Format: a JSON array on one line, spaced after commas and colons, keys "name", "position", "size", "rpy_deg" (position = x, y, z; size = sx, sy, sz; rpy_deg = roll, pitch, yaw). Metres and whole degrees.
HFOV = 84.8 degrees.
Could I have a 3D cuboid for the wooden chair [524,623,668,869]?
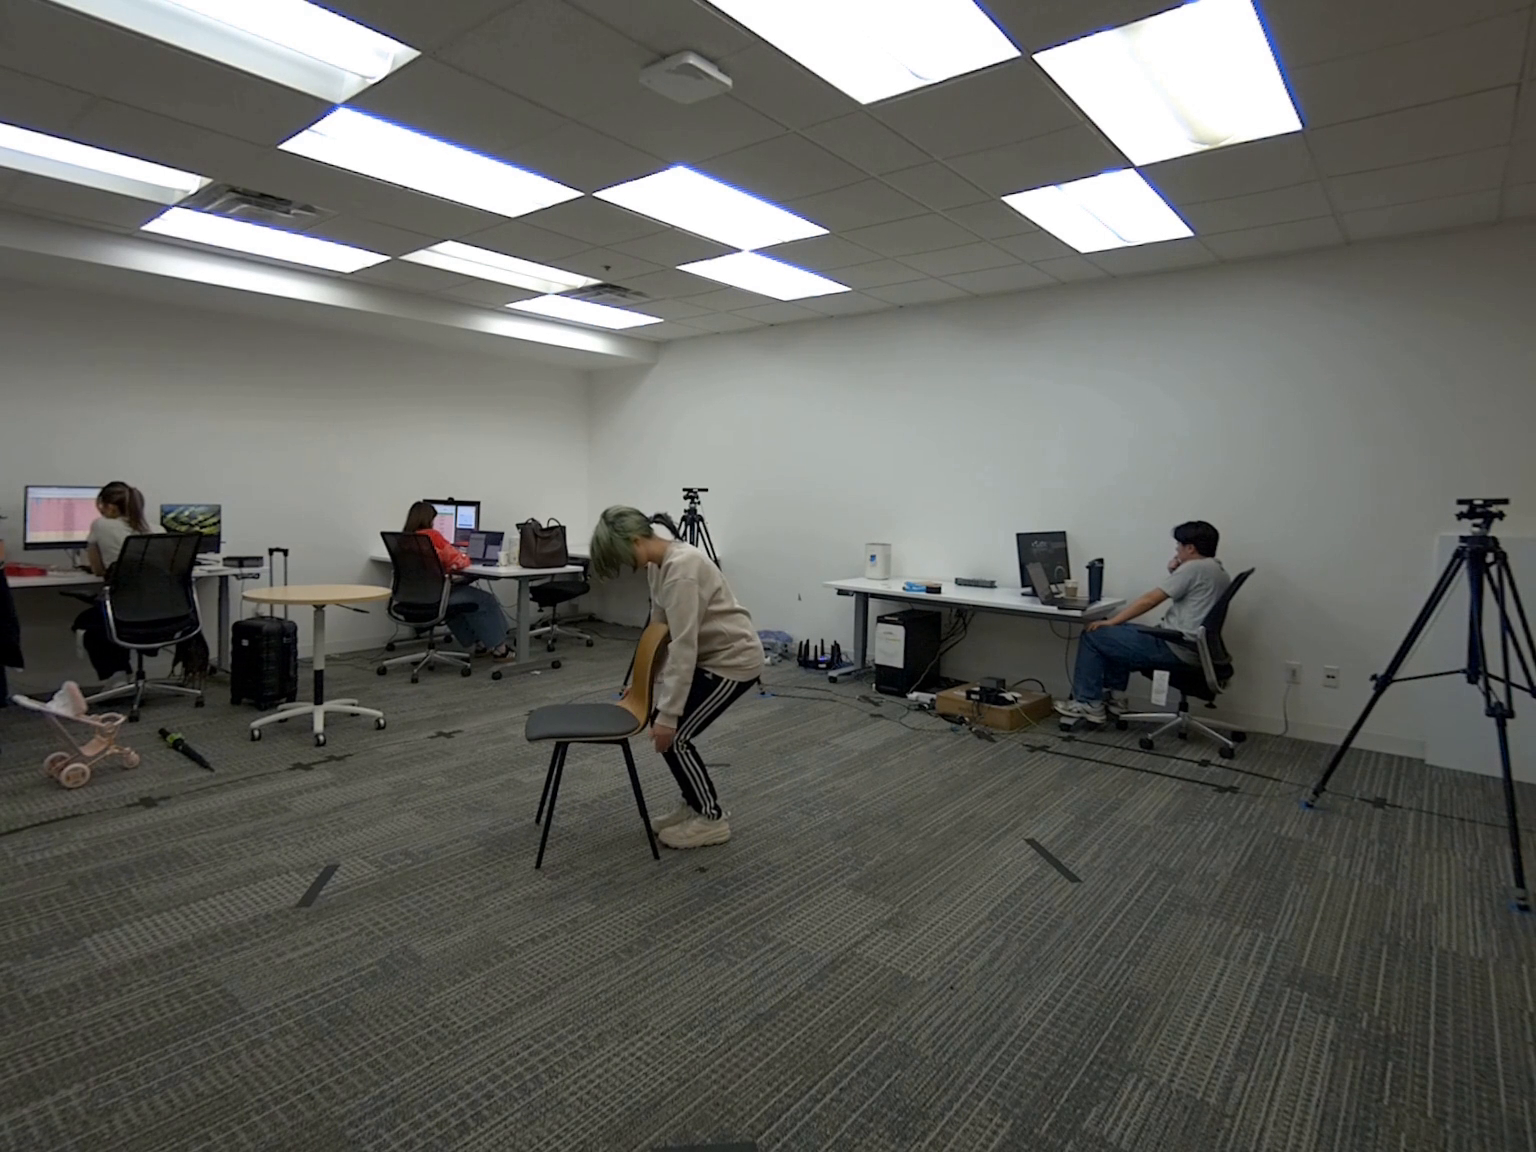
[{"name": "wooden chair", "position": [-0.700, 0.615, 3.309], "size": [0.514, 0.875, 0.487], "rpy_deg": [5, 3, -16]}]
